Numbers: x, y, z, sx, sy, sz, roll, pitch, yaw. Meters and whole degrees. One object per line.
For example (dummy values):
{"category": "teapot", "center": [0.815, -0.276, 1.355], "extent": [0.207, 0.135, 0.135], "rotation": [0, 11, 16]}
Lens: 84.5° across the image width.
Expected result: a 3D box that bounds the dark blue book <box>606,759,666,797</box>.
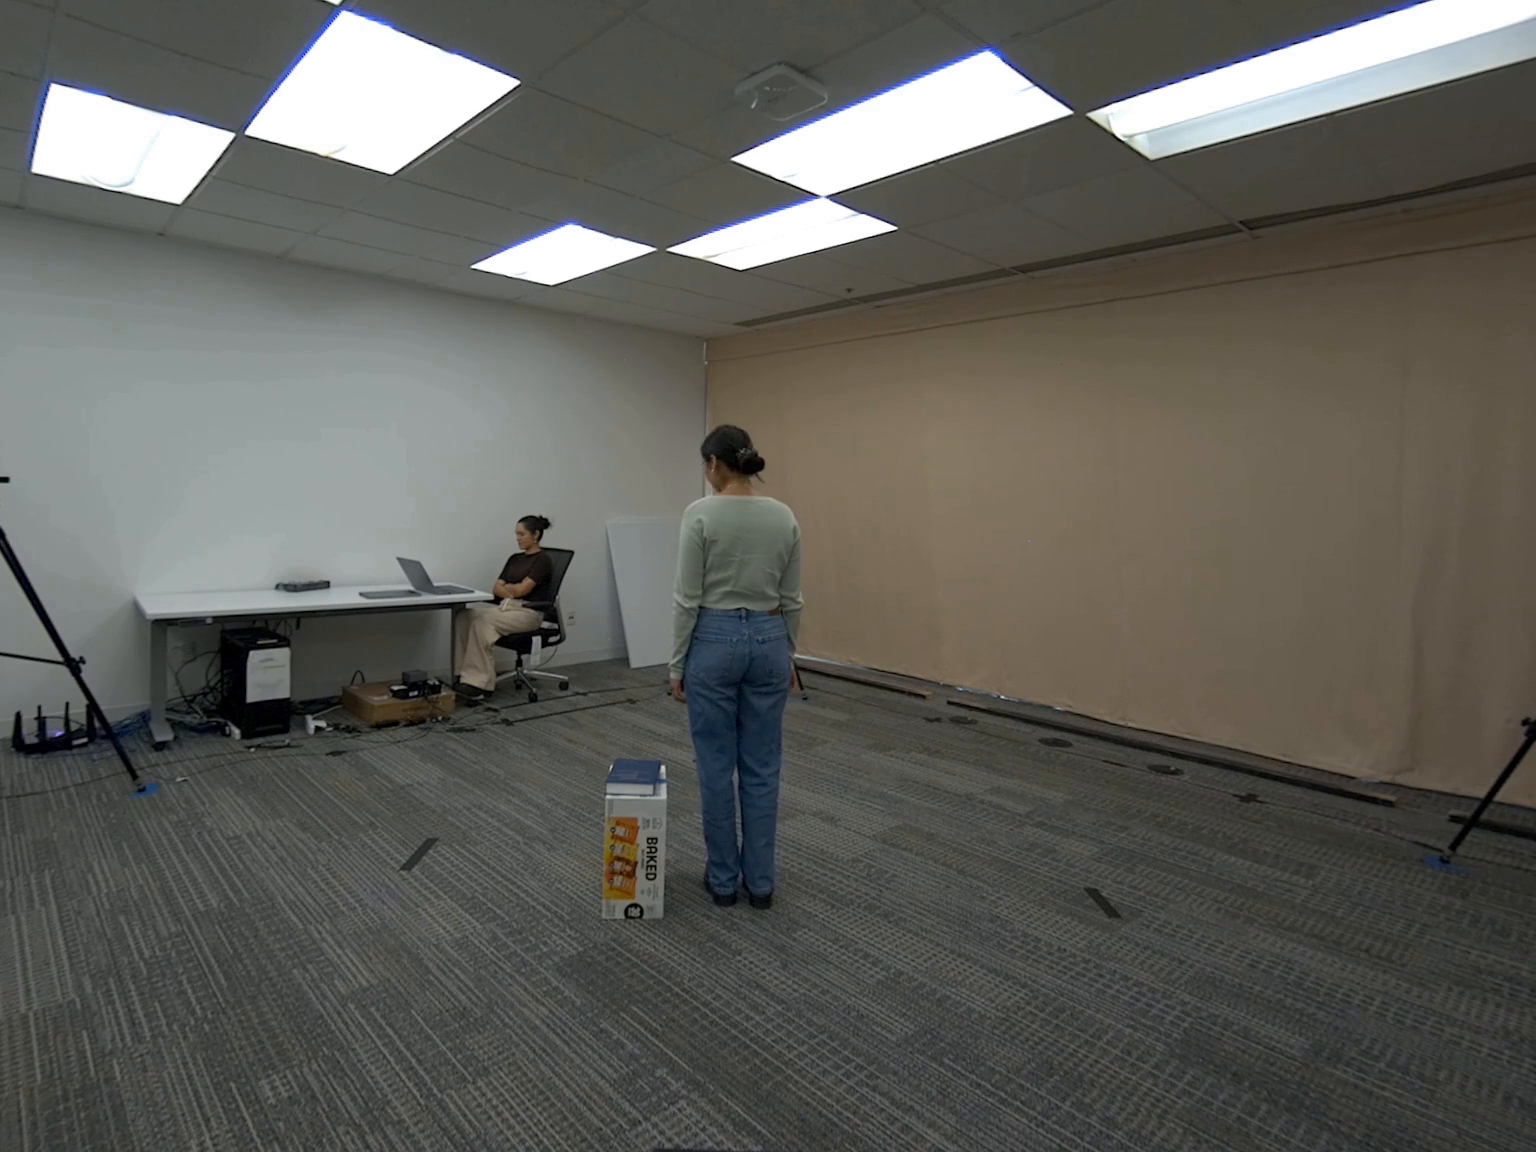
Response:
{"category": "dark blue book", "center": [-0.462, 0.694, 2.884], "extent": [0.163, 0.045, 0.246], "rotation": [2, 5, 0]}
